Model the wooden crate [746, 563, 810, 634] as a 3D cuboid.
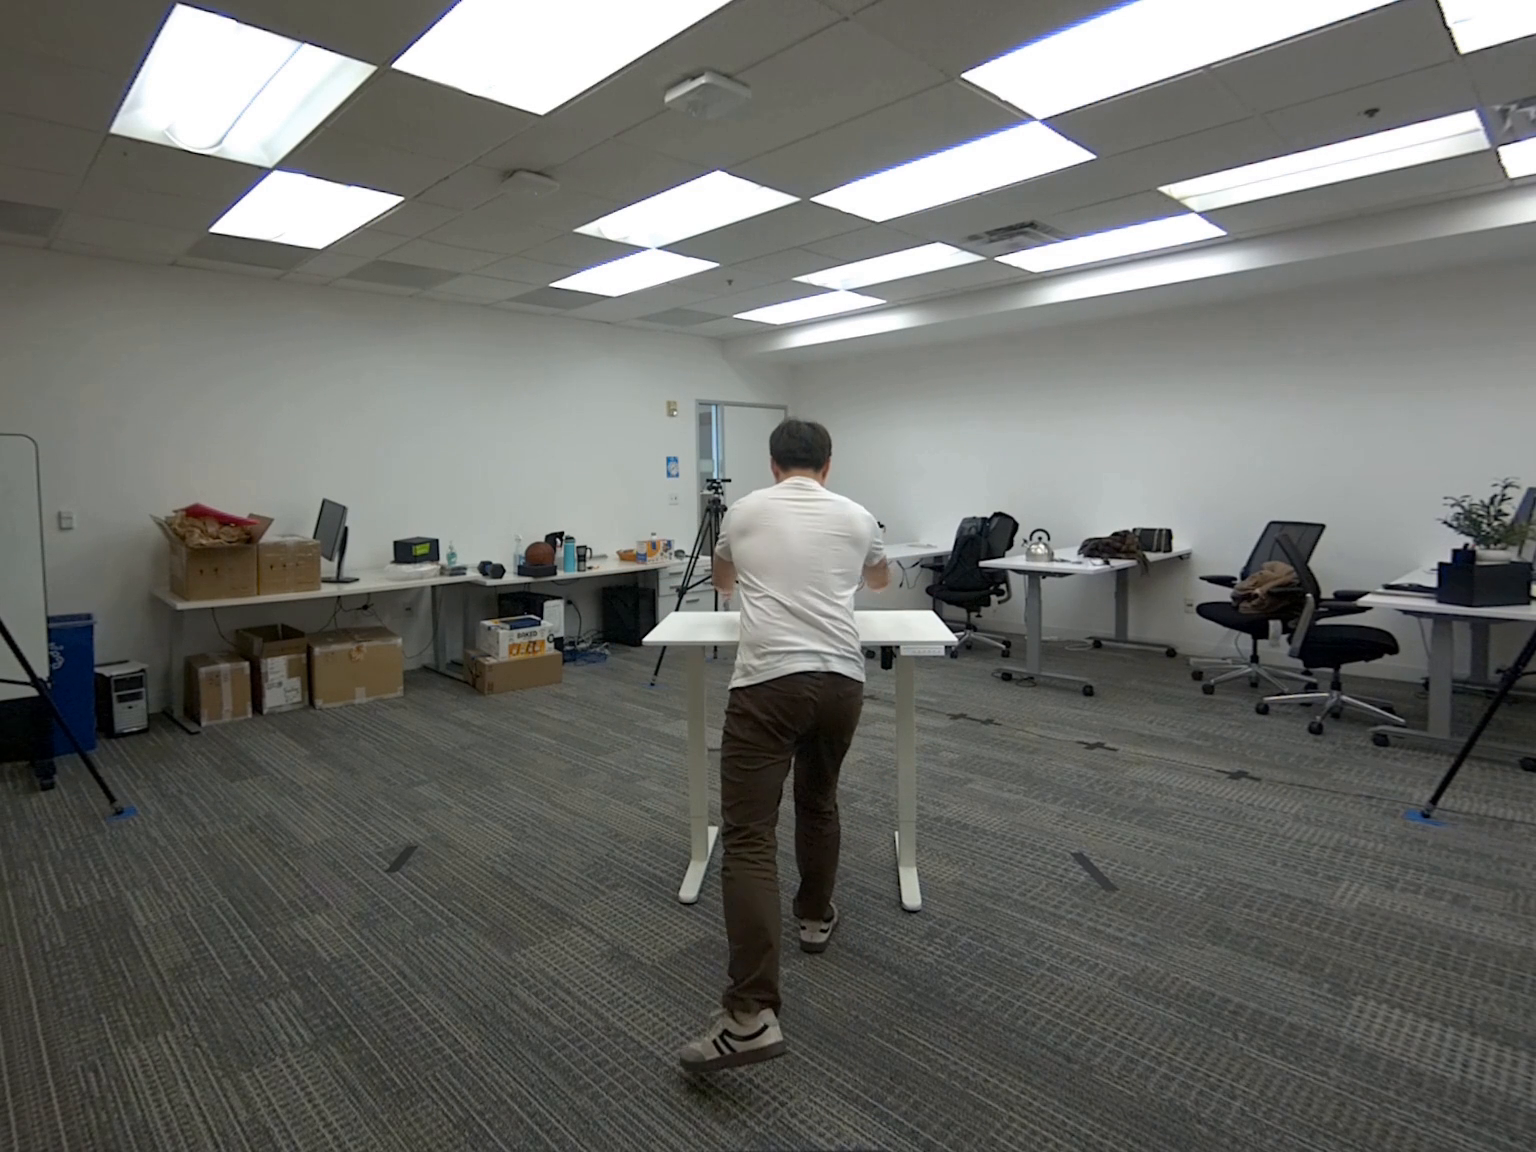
[{"bbox_3d":[0.119,0.042,3.030,0.325,0.272,0.303,-1,5,0],"label":"wooden crate"}]
